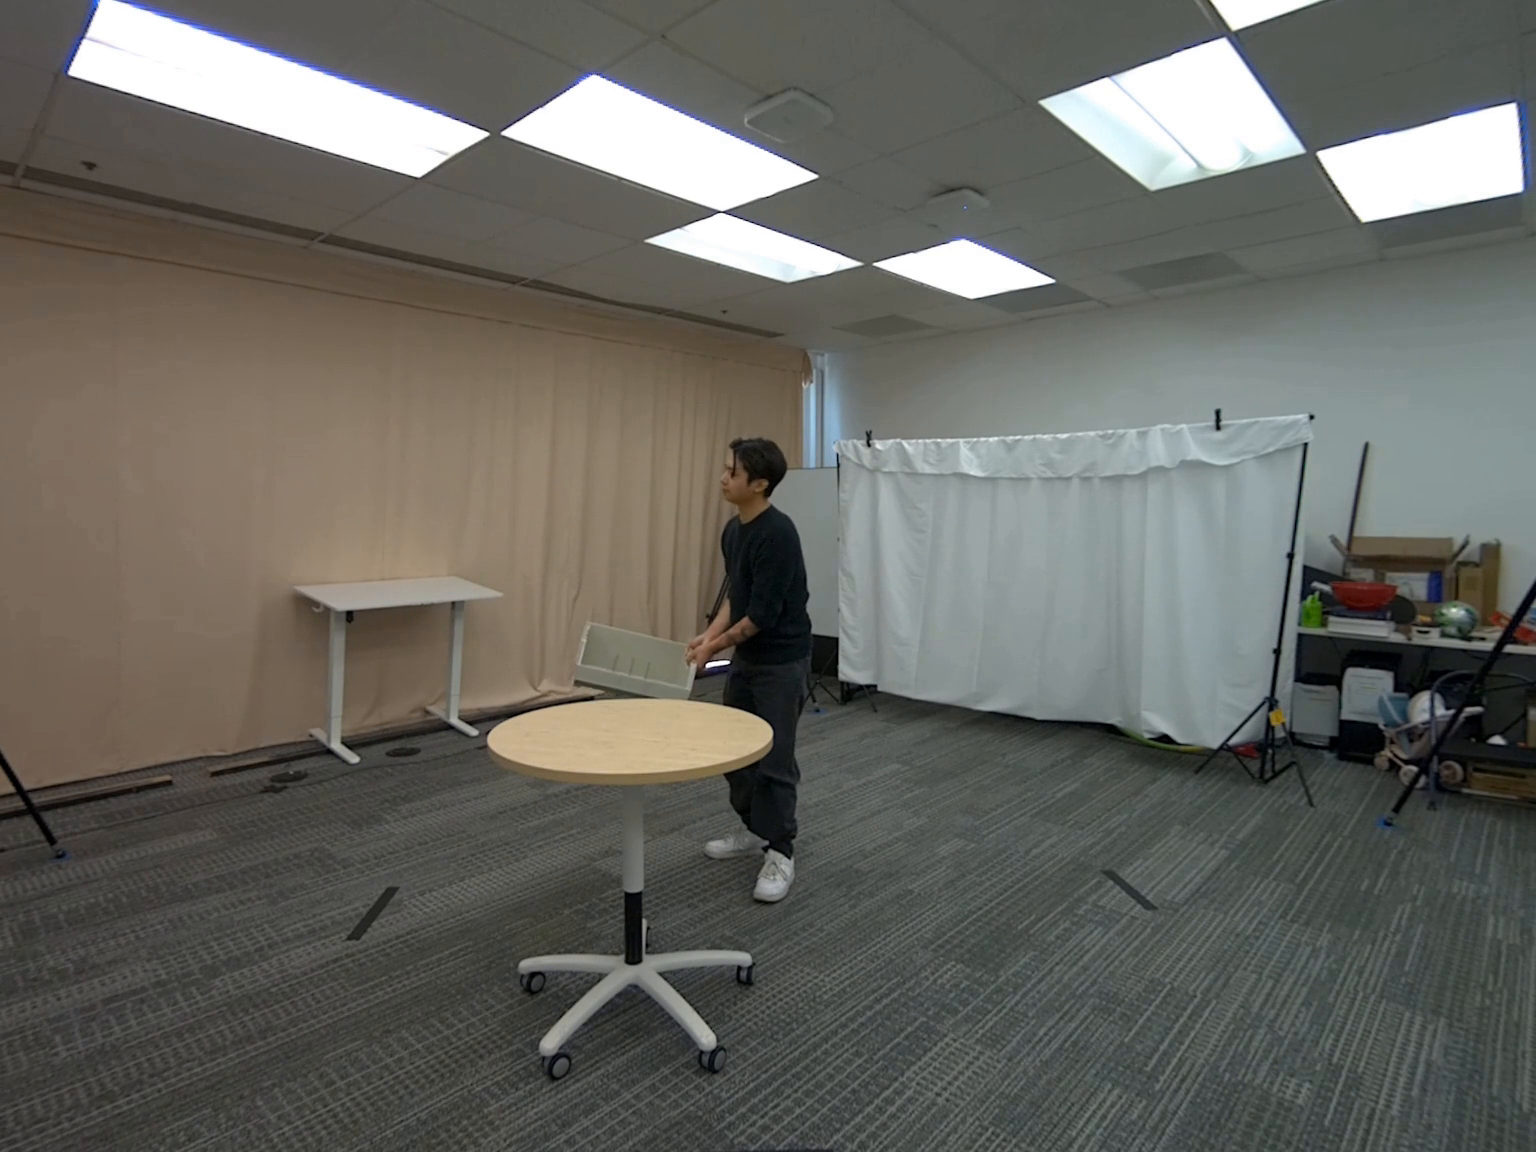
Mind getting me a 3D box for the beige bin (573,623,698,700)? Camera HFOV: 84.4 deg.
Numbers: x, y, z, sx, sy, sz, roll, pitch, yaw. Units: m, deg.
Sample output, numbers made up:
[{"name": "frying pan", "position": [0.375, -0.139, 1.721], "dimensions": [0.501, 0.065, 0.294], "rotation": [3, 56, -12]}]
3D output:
[{"name": "beige bin", "position": [-0.502, 0.332, 3.129], "dimensions": [0.419, 0.189, 0.381], "rotation": [12, 3, -7]}]
